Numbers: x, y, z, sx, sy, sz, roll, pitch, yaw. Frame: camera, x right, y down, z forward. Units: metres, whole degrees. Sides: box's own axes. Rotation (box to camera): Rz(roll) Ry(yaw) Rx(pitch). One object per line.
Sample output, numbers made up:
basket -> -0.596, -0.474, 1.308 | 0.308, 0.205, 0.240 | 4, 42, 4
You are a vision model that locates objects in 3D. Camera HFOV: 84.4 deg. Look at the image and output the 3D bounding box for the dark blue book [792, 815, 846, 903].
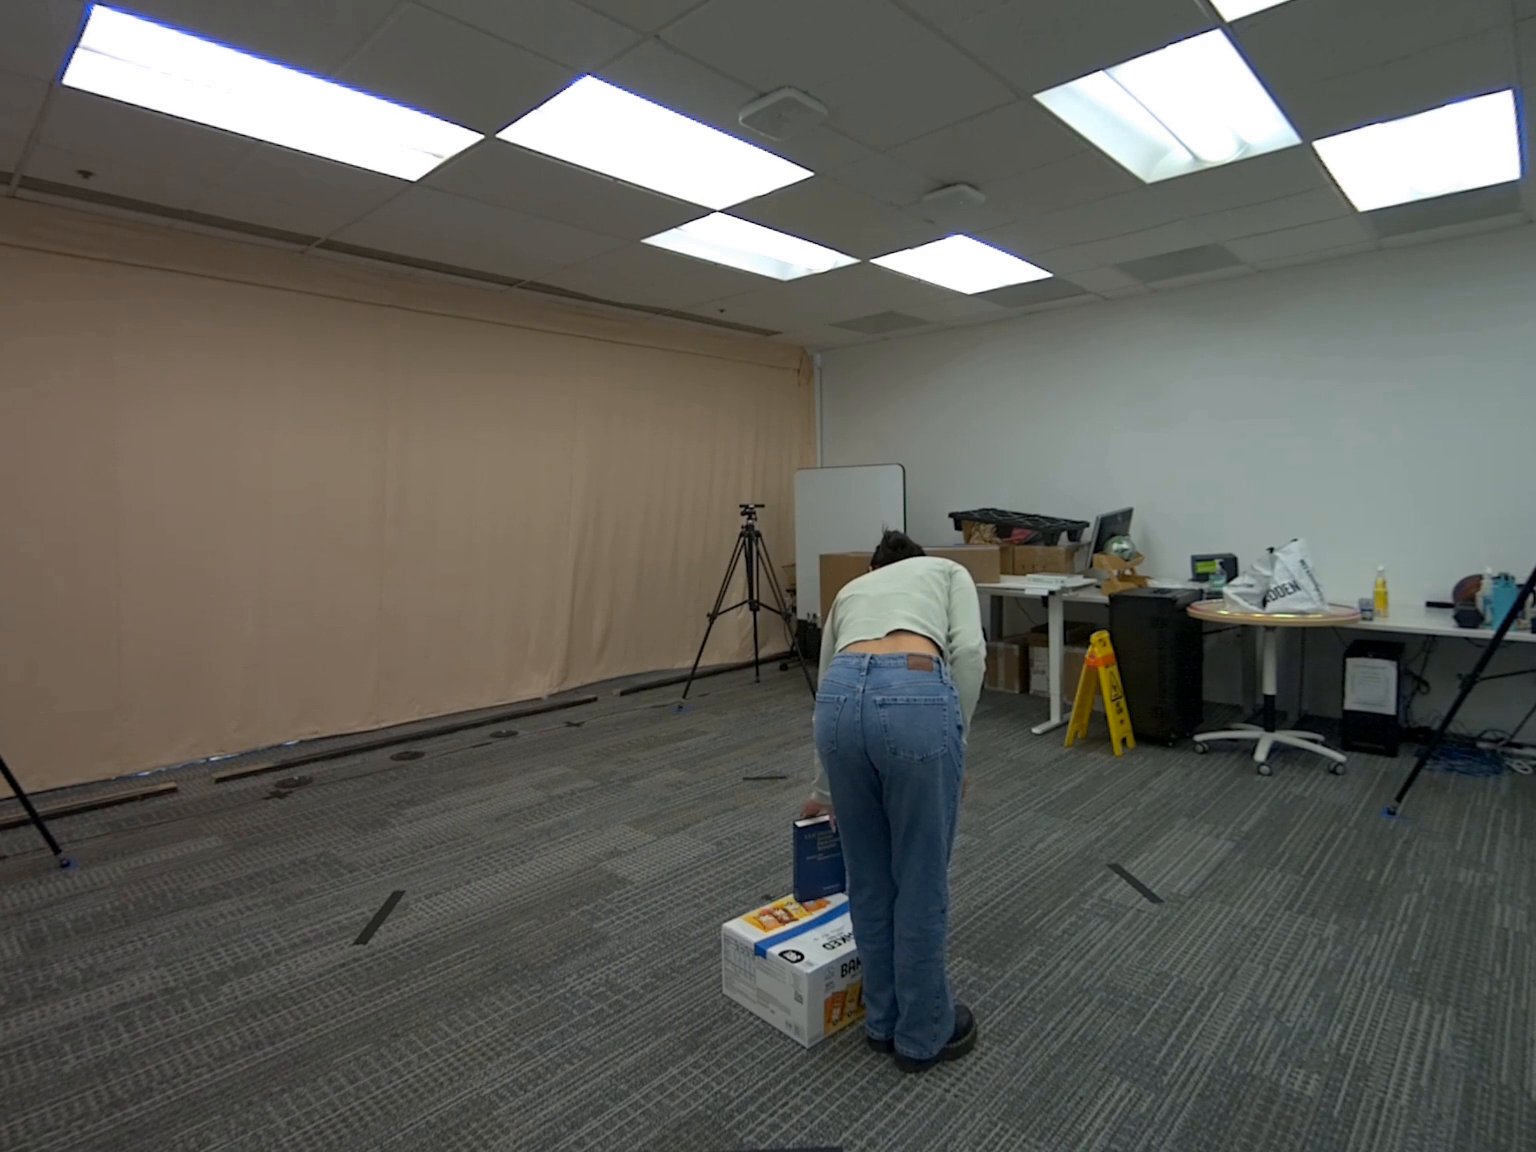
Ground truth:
dark blue book -> 0.157, 0.853, 2.547 | 0.160, 0.244, 0.046 | -4, 8, -23
